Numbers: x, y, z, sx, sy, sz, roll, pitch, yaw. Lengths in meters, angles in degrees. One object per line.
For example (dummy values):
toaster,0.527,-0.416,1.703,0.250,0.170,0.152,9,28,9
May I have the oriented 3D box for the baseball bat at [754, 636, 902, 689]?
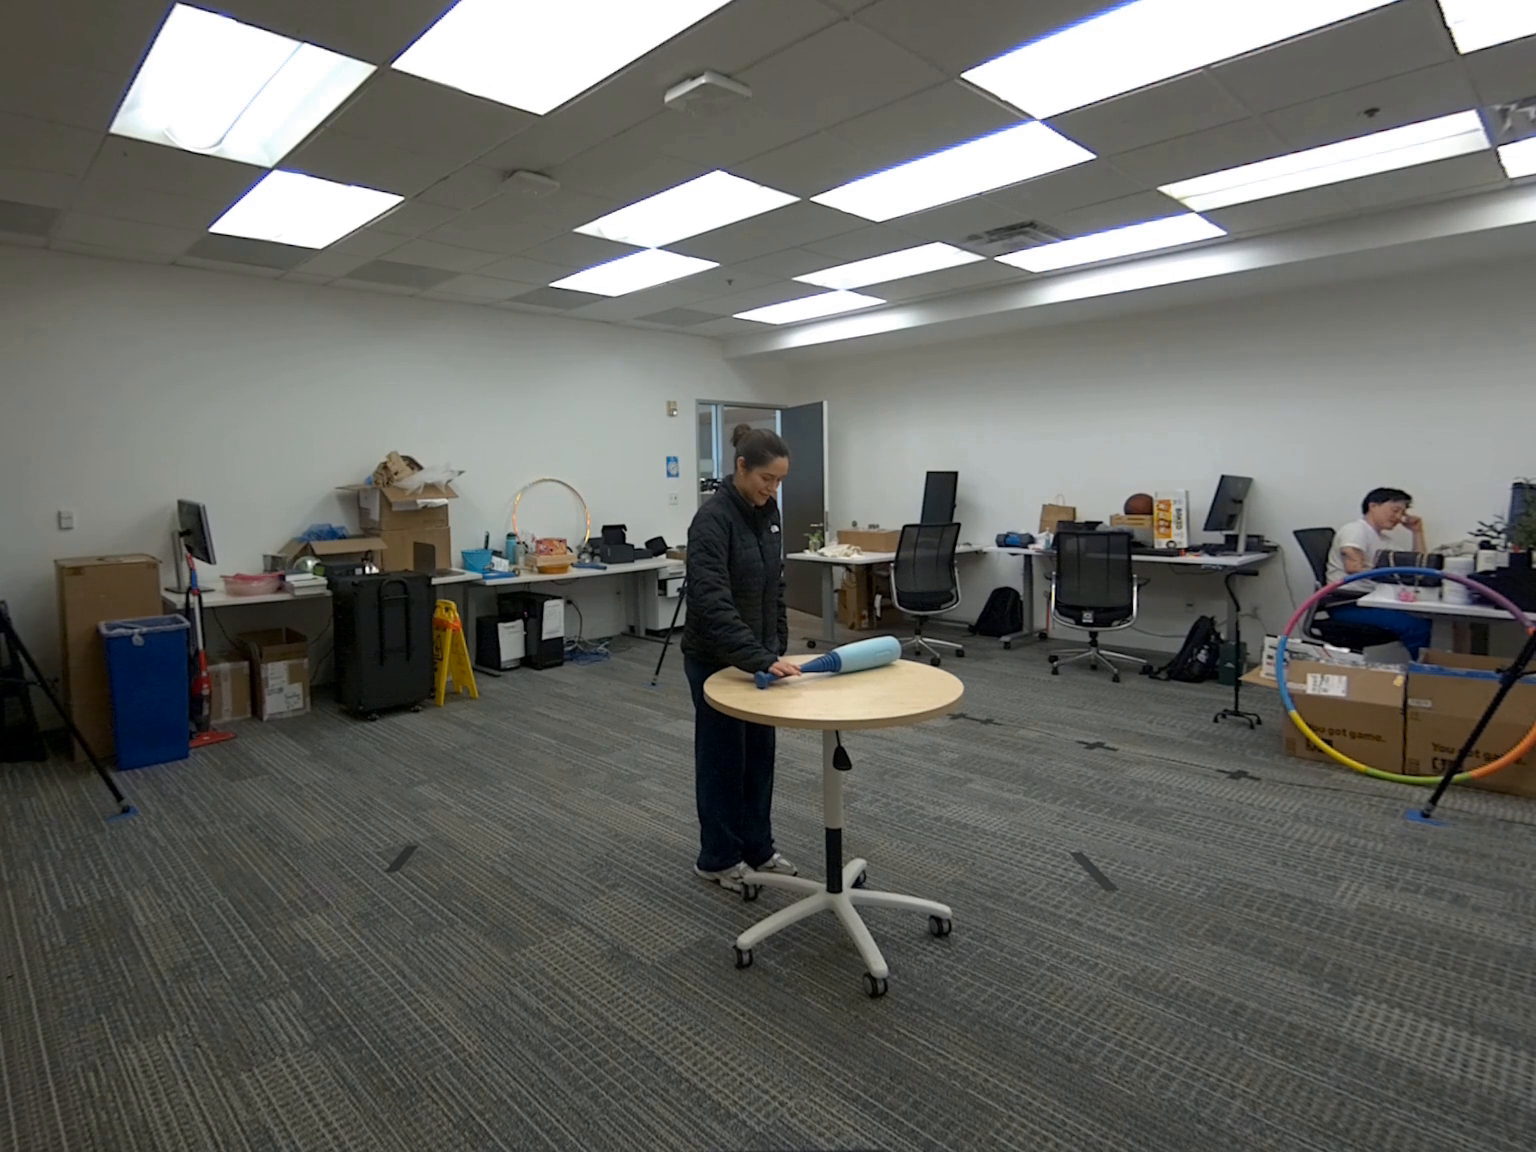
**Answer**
baseball bat,0.191,0.273,2.659,0.531,0.088,0.091,-10,9,-33
